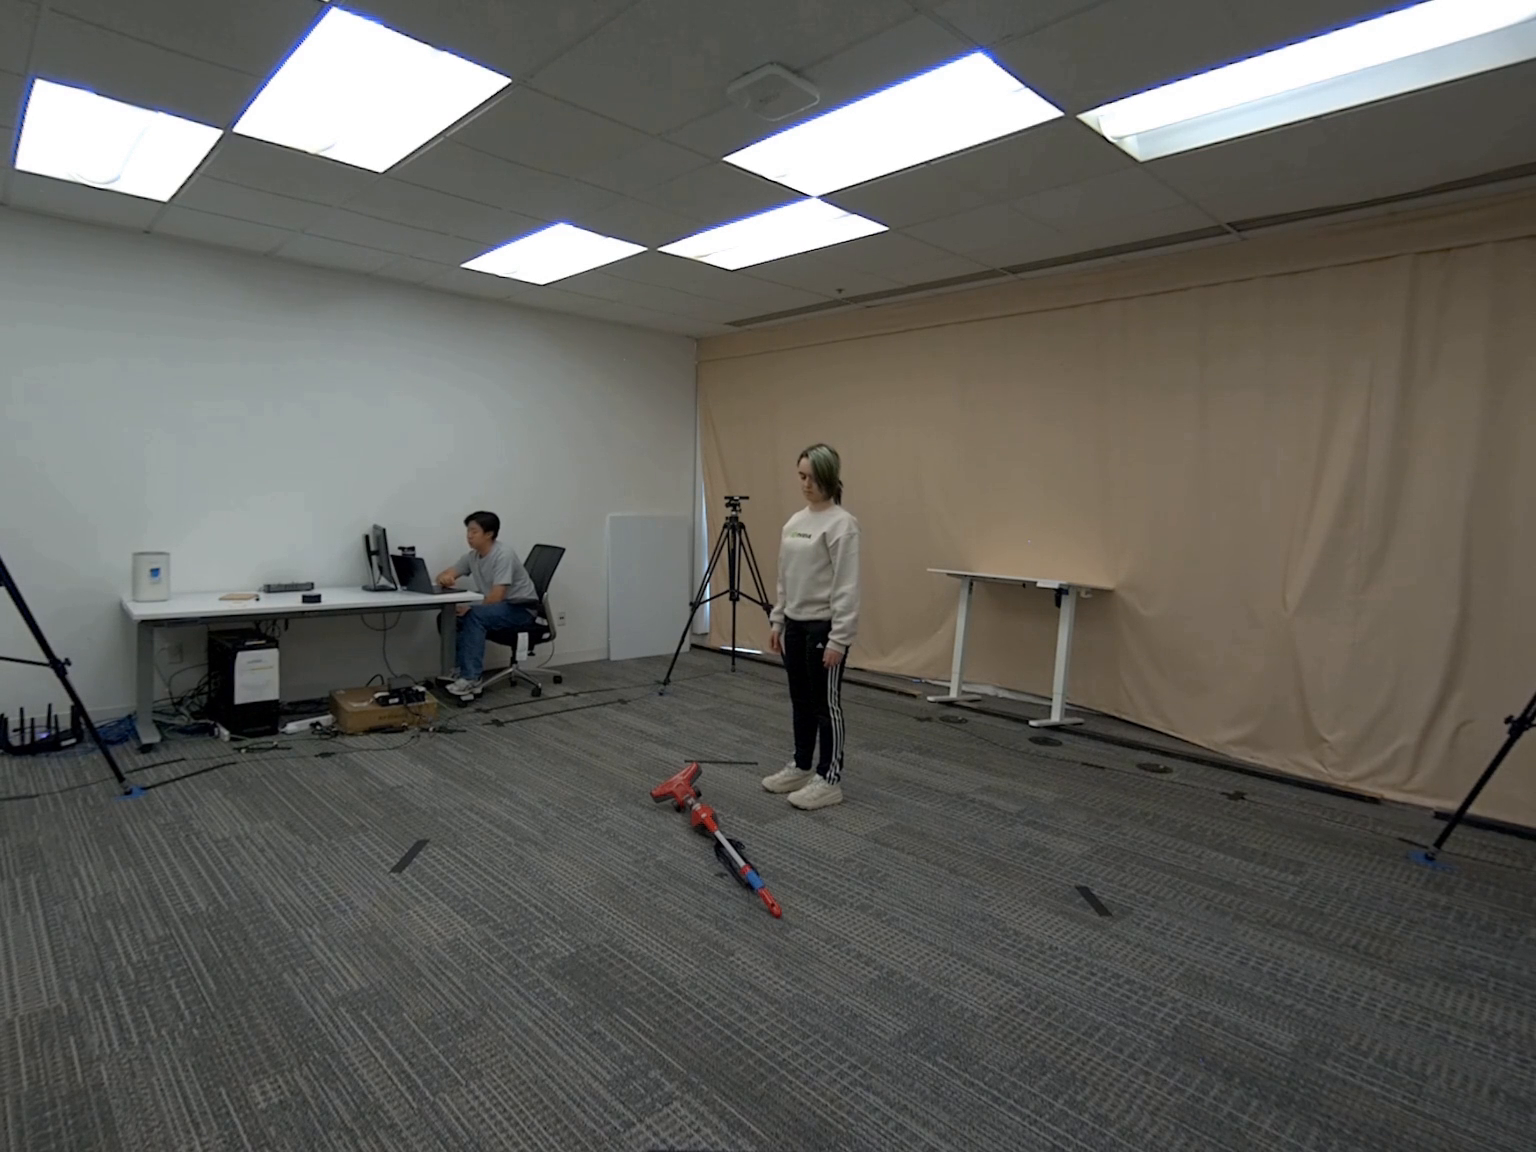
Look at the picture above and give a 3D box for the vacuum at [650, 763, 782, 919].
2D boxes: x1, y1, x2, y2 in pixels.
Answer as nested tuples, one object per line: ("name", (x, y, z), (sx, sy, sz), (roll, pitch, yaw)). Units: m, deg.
("vacuum", (-0.187, 1.038, 3.287), (0.251, 0.141, 1.072), (-34, 20, -14))
